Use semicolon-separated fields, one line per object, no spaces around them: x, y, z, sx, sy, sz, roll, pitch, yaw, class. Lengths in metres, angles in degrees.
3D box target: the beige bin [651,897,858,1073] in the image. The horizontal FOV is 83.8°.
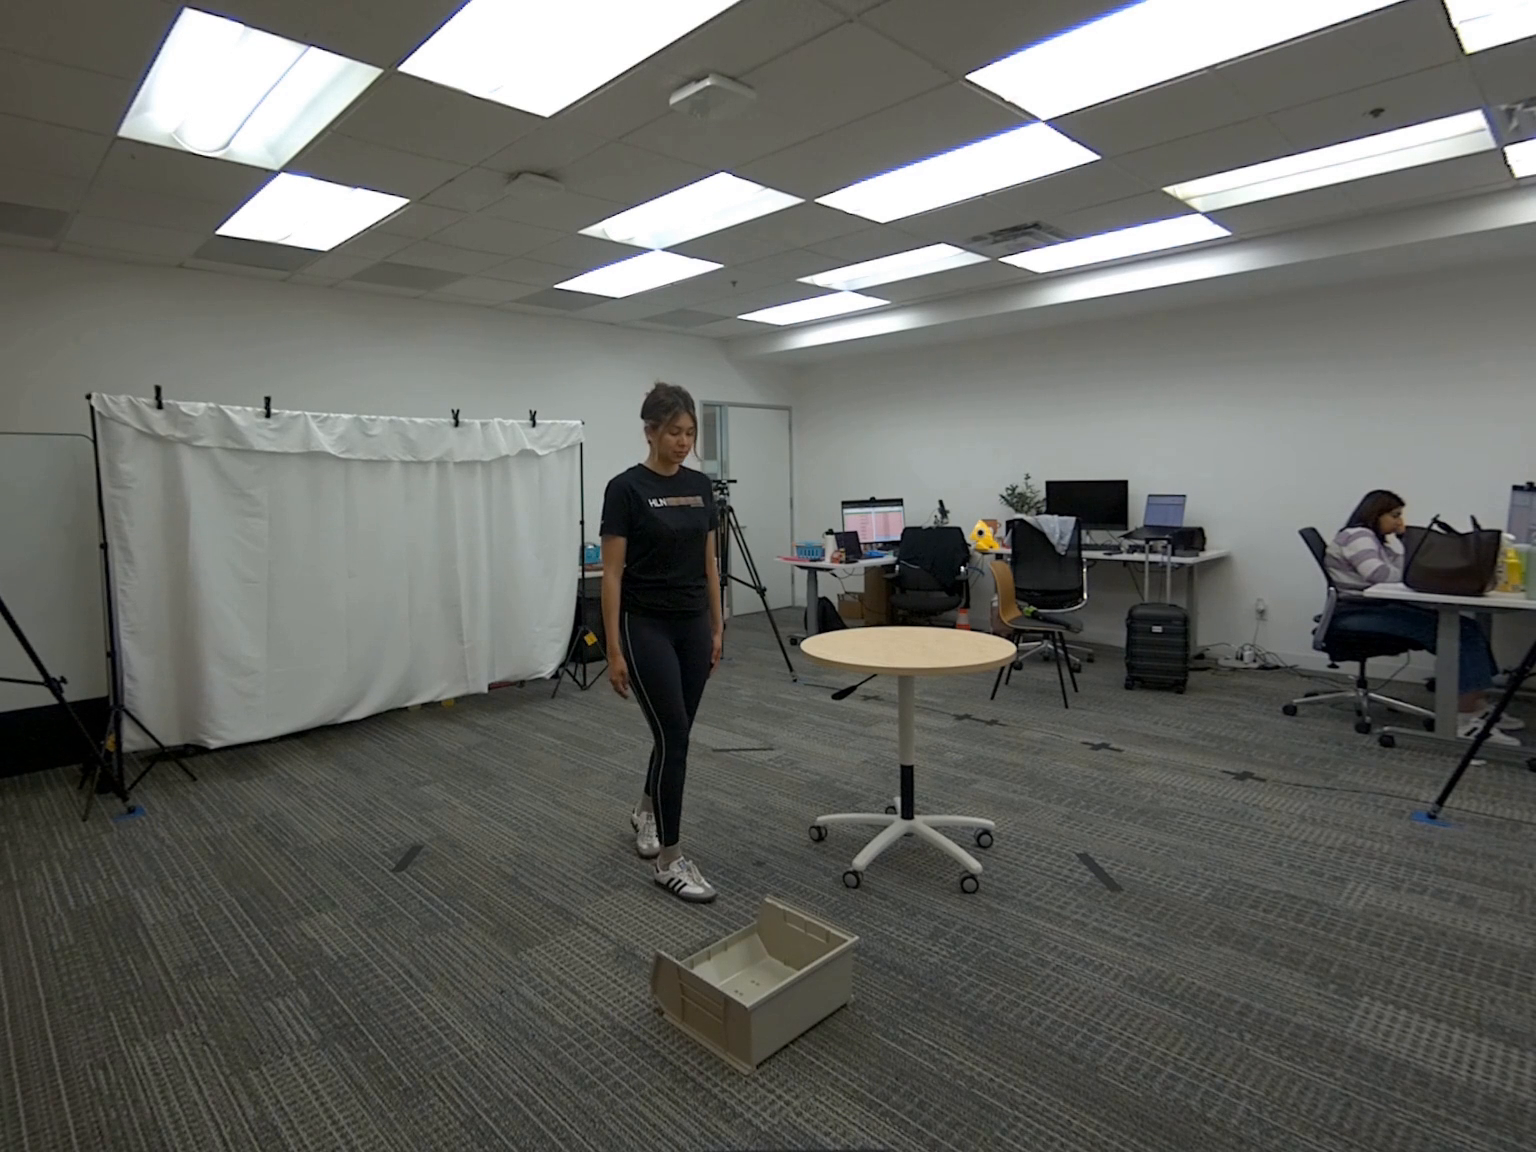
-0.030;1.060;2.264;0.411;0.188;0.389;-6;8;-45;beige bin
